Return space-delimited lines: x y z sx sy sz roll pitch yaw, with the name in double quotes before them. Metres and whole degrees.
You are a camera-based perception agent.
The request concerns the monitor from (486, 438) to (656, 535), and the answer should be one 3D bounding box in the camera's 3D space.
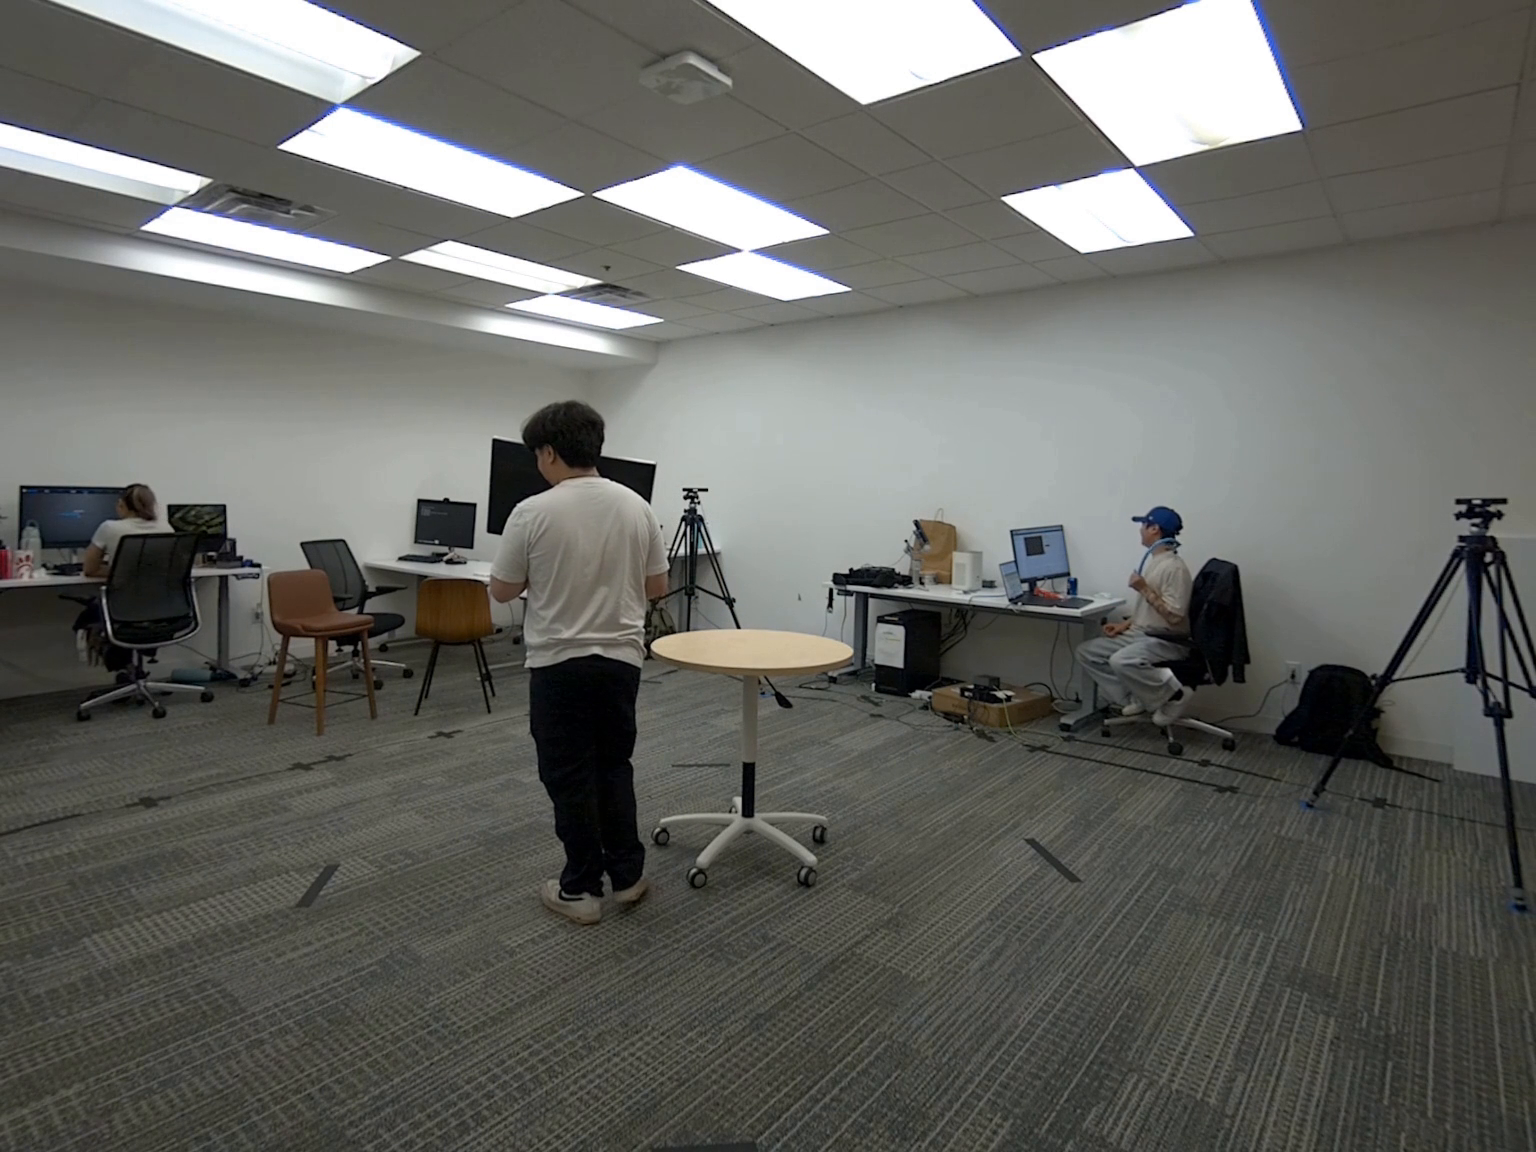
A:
"monitor" -0.712 -0.173 2.904 0.562 0.546 0.214 9 20 -5
